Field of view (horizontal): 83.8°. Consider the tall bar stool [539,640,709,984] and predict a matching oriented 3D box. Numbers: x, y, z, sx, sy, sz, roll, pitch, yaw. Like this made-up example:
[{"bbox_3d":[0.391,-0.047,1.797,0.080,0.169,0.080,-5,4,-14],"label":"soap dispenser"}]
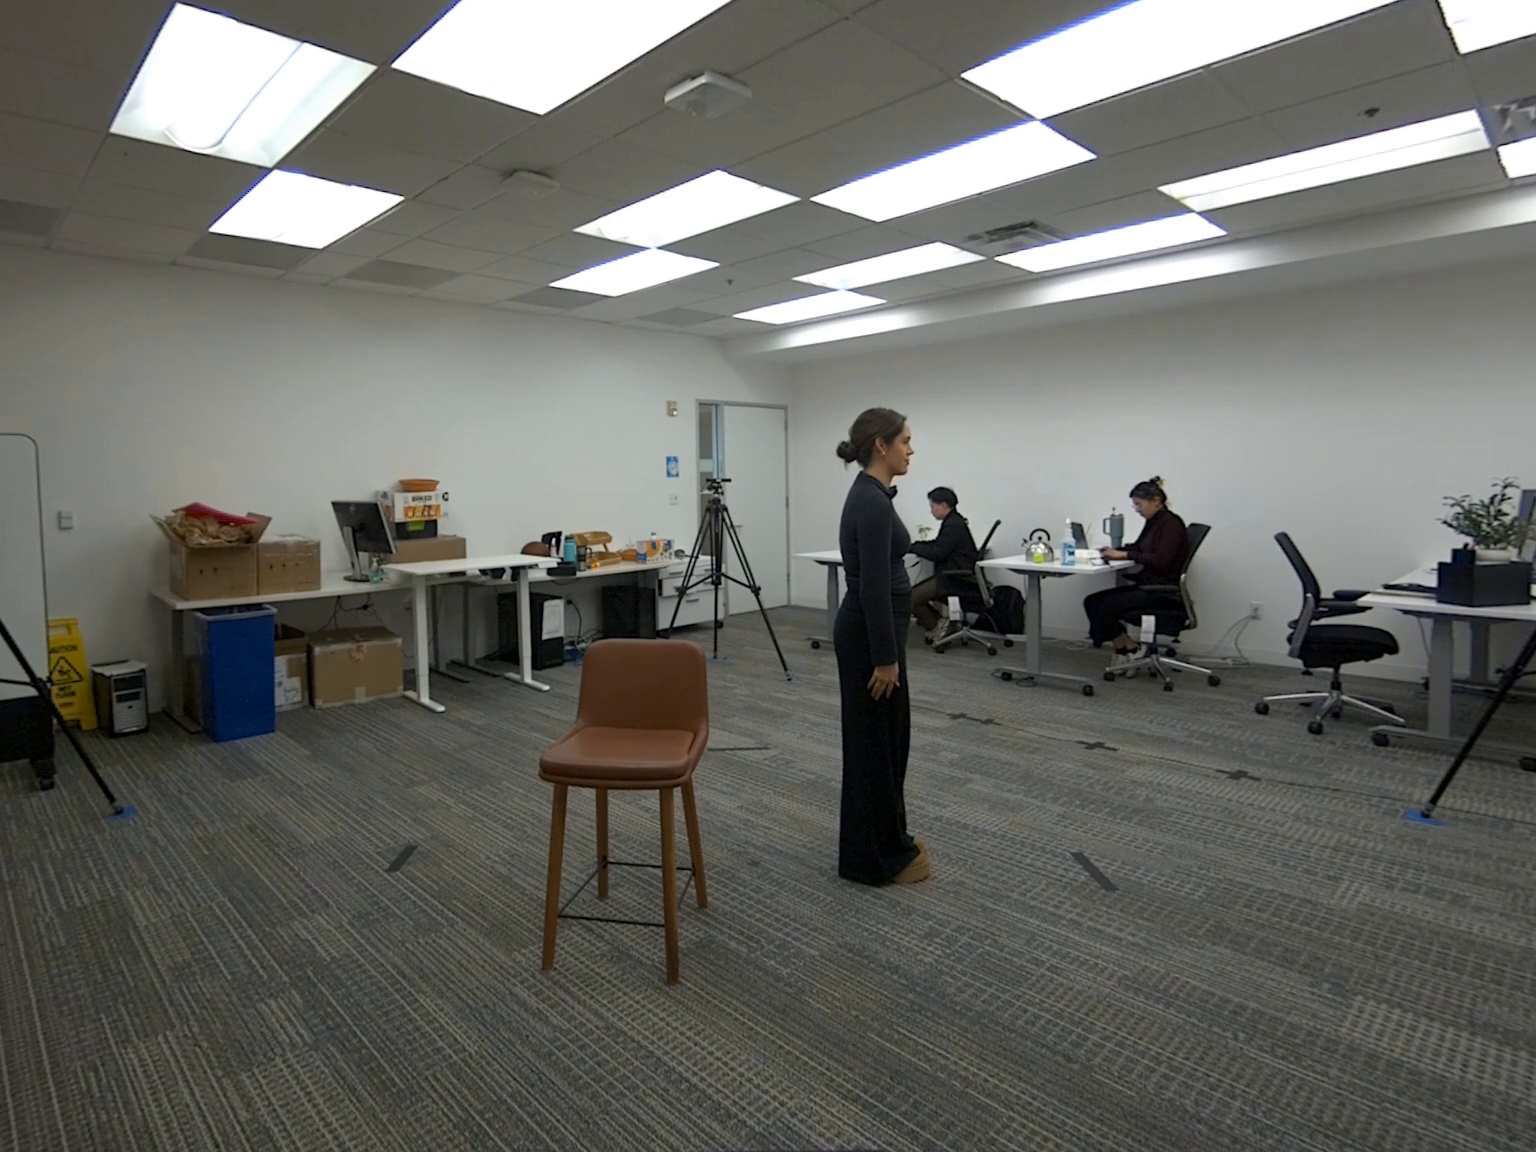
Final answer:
[{"bbox_3d":[-0.419,0.677,2.606,0.462,0.887,0.463,0,3,12],"label":"tall bar stool"}]
